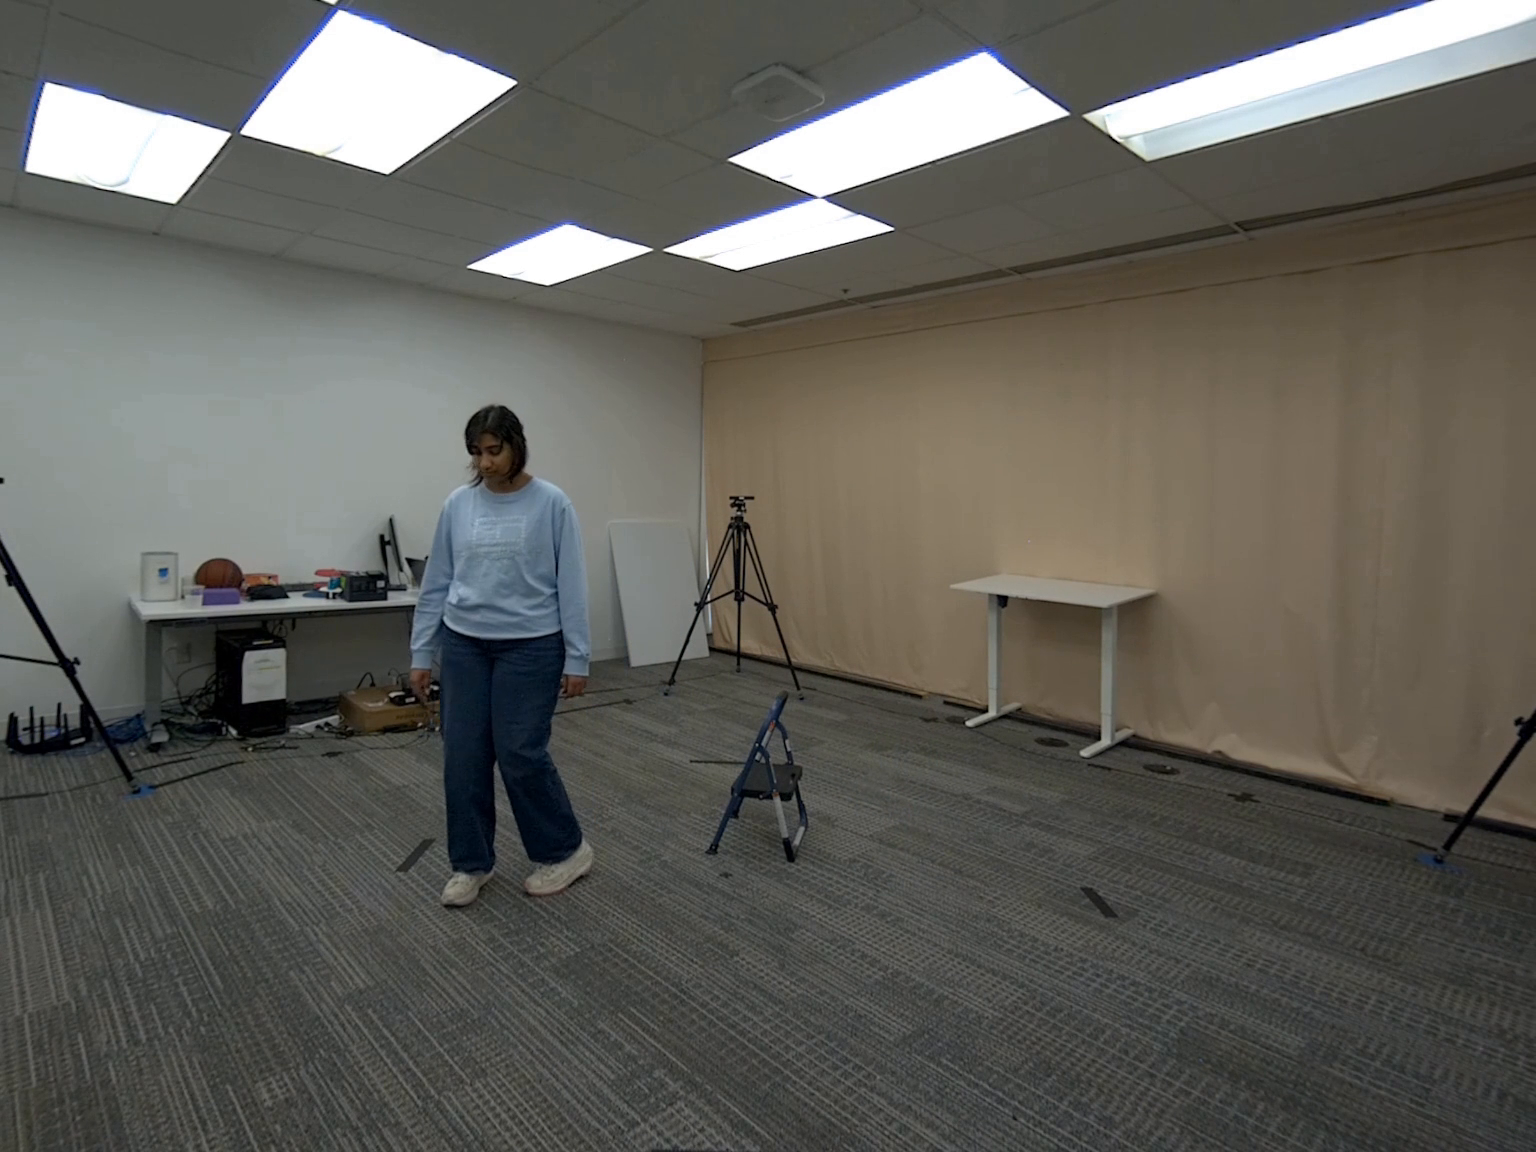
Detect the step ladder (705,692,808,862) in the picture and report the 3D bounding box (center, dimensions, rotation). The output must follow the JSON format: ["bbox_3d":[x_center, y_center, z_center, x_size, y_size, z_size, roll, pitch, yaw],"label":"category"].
[{"bbox_3d":[-0.029,0.775,3.442,0.353,0.604,0.427,2,4,11],"label":"step ladder"}]
